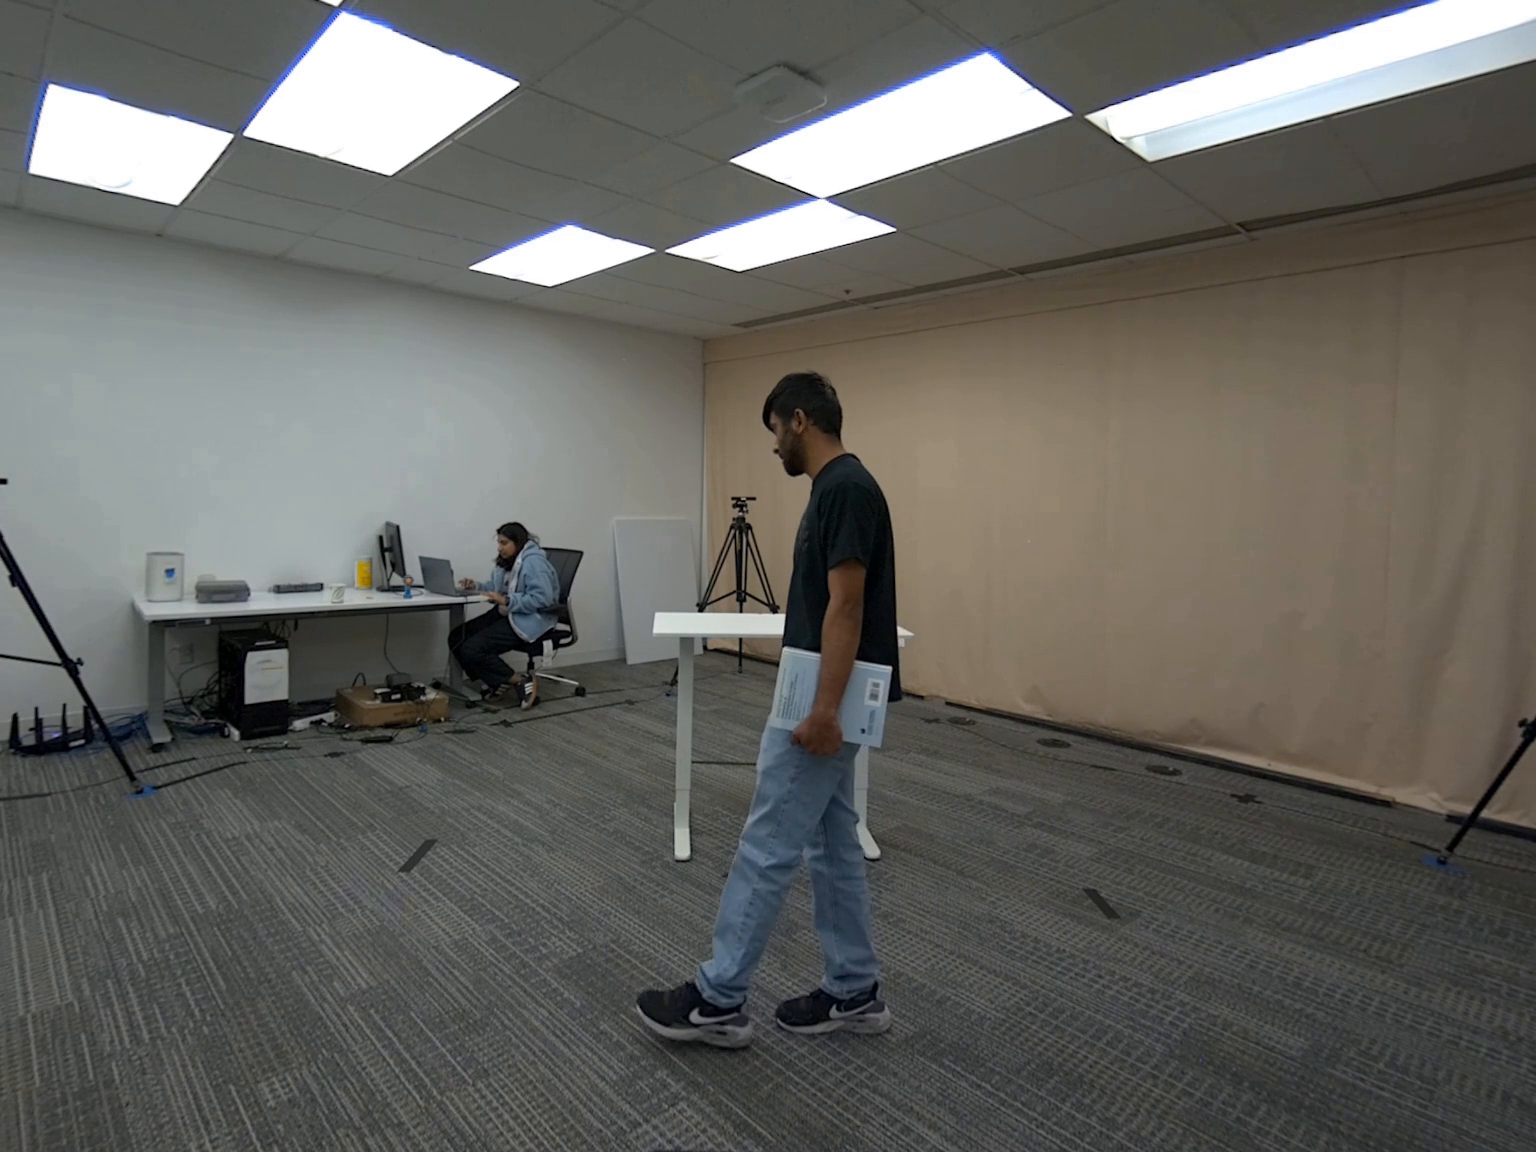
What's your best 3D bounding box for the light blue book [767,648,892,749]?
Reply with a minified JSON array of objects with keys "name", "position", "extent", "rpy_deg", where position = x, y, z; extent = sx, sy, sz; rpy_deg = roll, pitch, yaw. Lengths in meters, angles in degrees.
[{"name":"light blue book","position":[0.138,0.292,1.997],"extent":[0.264,0.192,0.058],"rpy_deg":[9,-9,12]}]
